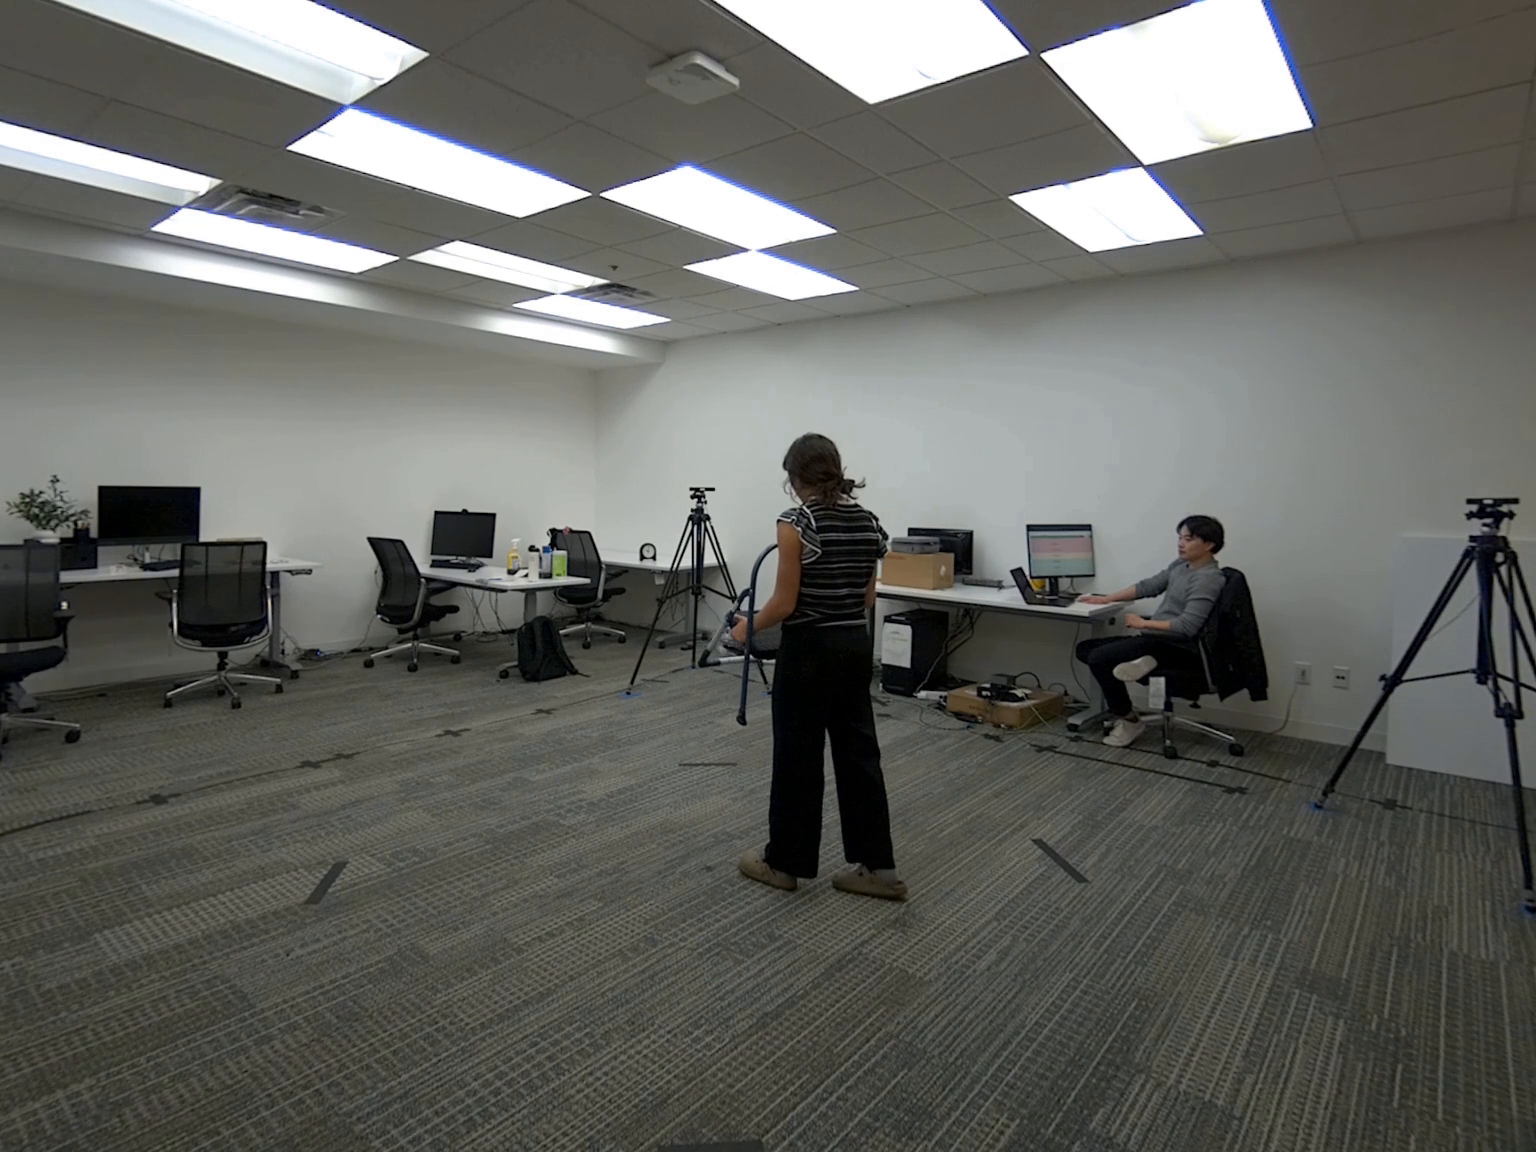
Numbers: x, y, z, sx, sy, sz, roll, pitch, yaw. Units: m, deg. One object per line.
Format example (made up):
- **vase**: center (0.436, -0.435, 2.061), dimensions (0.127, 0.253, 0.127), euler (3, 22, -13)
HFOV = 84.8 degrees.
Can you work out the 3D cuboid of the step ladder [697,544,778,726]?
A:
- **step ladder**: center (0.054, 0.164, 3.126), dimensions (0.418, 0.598, 0.364), euler (-1, 32, -36)
